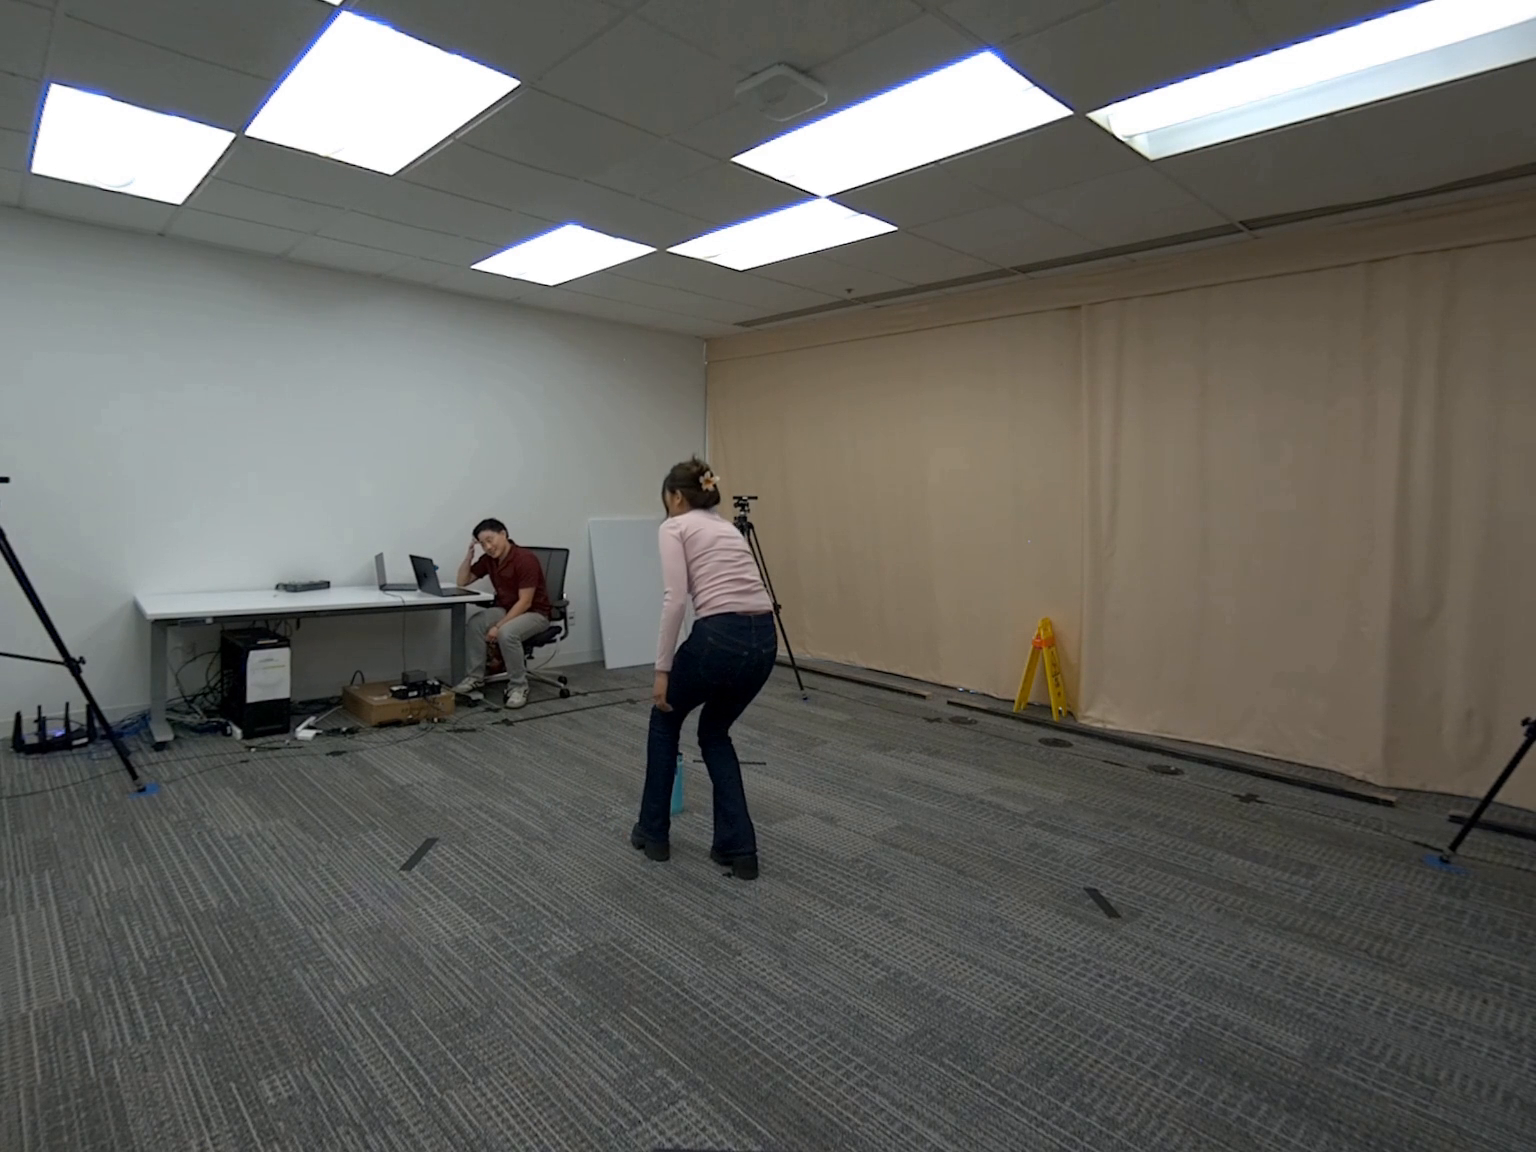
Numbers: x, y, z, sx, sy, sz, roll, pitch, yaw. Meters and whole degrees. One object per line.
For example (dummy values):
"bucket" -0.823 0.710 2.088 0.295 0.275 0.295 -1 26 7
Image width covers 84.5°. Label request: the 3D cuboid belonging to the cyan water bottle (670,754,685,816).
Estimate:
"cyan water bottle" -0.427 0.906 3.727 0.092 0.283 0.092 3 2 -2
